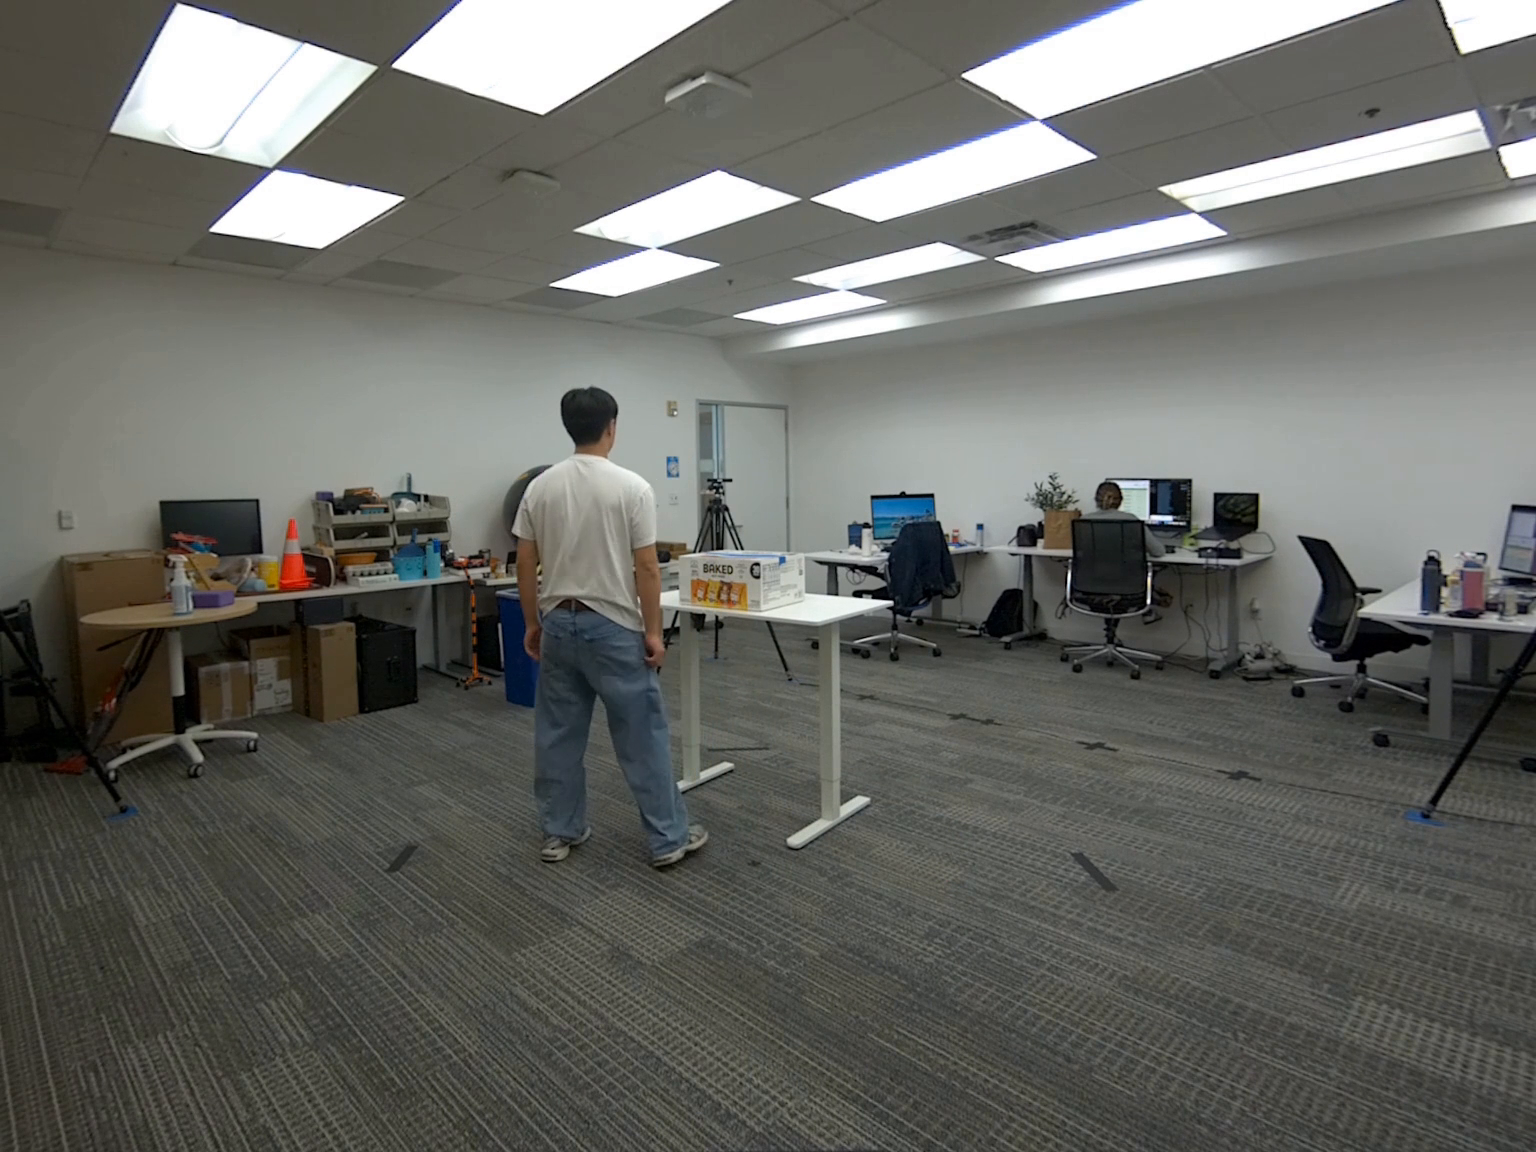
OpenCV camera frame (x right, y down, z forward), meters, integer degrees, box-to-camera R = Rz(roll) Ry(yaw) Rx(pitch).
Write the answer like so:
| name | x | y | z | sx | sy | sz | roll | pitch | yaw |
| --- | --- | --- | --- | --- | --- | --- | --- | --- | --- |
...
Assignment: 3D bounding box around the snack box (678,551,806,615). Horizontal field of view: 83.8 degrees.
| name | x | y | z | sx | sy | sz | roll | pitch | yaw |
| --- | --- | --- | --- | --- | --- | --- | --- | --- | --- |
| snack box | -0.107 | 0.012 | 3.561 | 0.417 | 0.205 | 0.332 | 3 | 8 | 34 |
